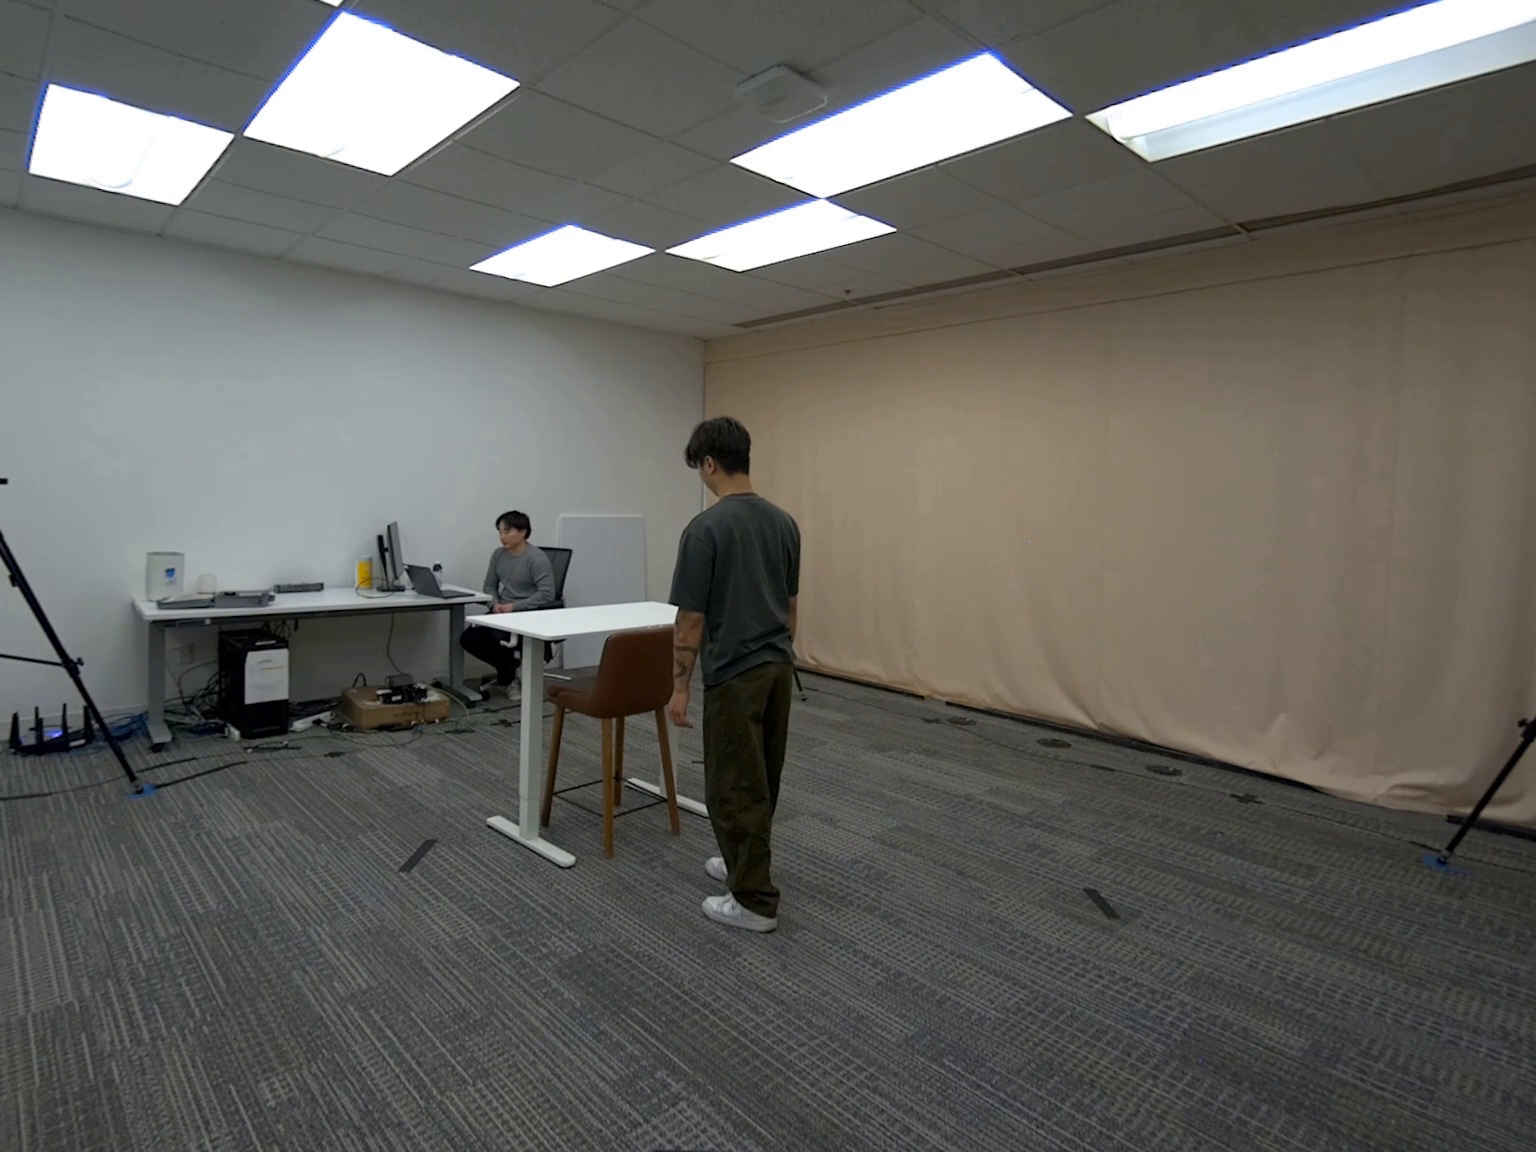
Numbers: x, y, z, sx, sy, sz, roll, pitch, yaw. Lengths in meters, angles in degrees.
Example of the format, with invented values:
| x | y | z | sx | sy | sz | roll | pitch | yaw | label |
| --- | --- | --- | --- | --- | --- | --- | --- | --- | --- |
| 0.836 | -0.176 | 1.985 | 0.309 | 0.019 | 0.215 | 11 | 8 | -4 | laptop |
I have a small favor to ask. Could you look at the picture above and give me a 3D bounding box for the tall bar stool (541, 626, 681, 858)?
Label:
| x | y | z | sx | sy | sz | roll | pitch | yaw | label |
| --- | --- | --- | --- | --- | --- | --- | --- | --- | --- |
| -0.638 | 0.626 | 3.480 | 0.480 | 0.886 | 0.446 | 8 | 7 | 44 | tall bar stool |
